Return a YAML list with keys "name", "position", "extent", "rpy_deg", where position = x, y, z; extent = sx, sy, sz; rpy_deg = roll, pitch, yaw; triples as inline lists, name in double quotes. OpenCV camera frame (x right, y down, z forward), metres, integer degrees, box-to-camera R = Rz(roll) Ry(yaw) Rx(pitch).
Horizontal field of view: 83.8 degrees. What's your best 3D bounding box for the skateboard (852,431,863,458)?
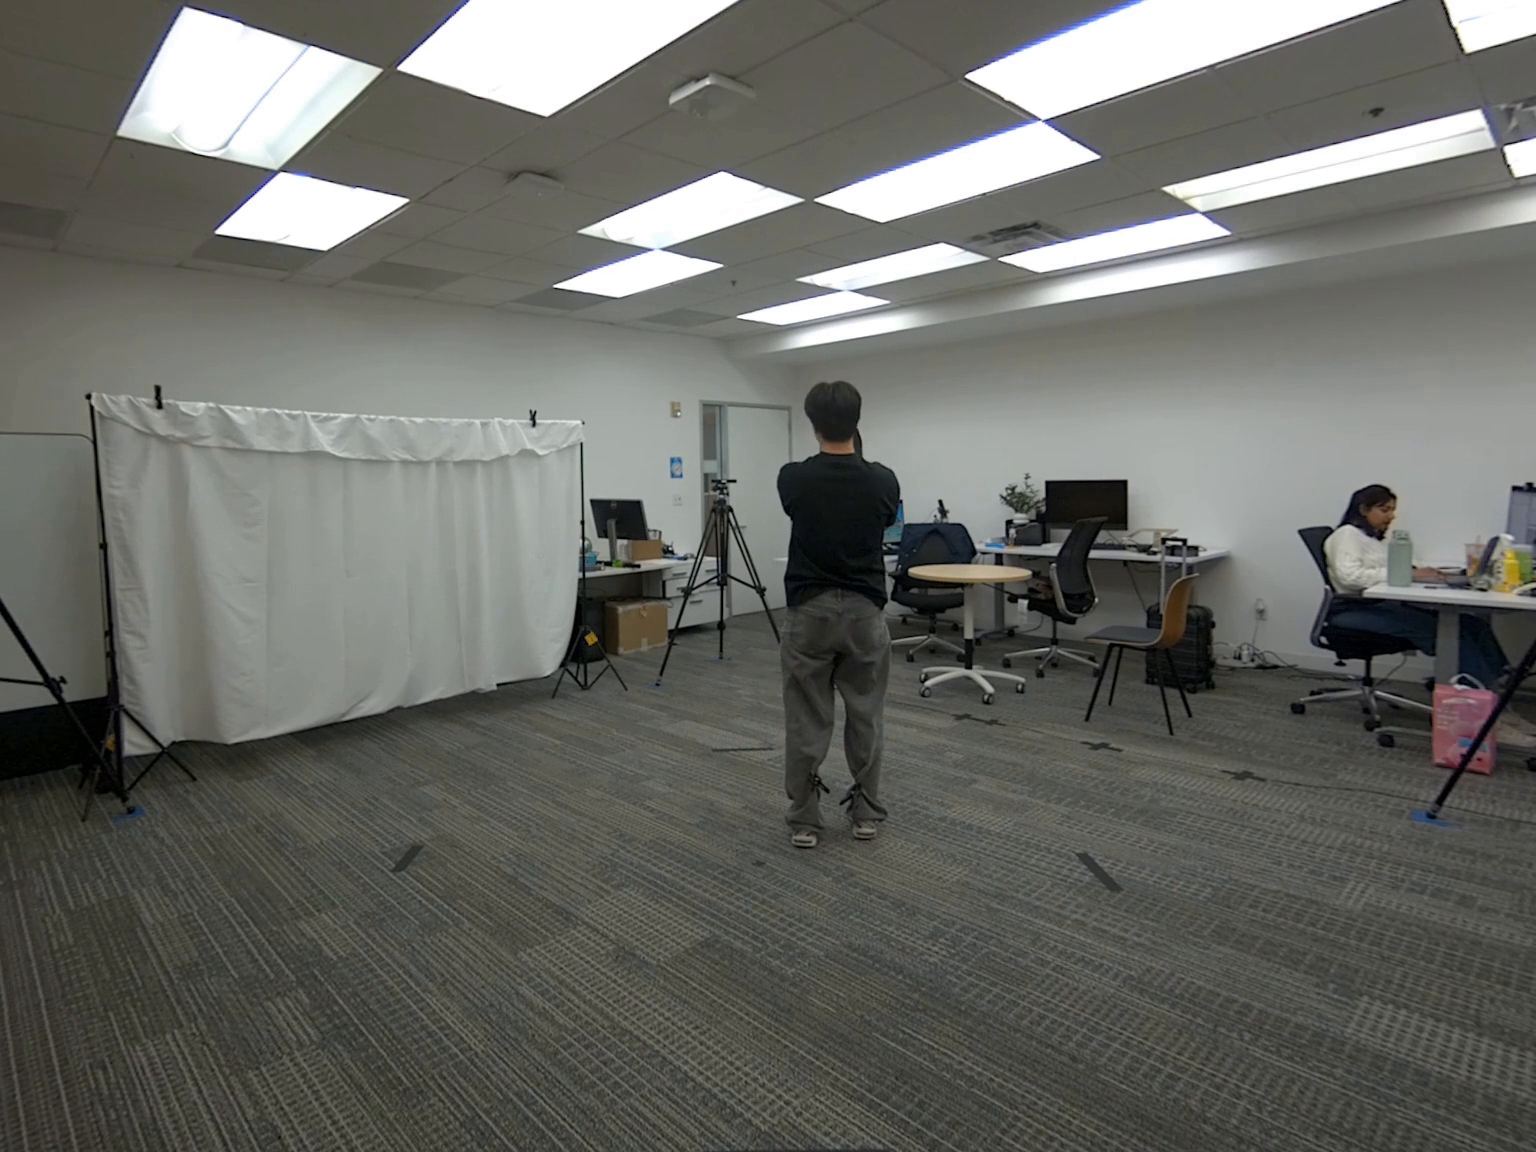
- name: "skateboard"
  position: [0.330, -0.305, 3.833]
  extent: [0.195, 0.790, 0.108]
  rpy_deg: [-1, -6, 10]
